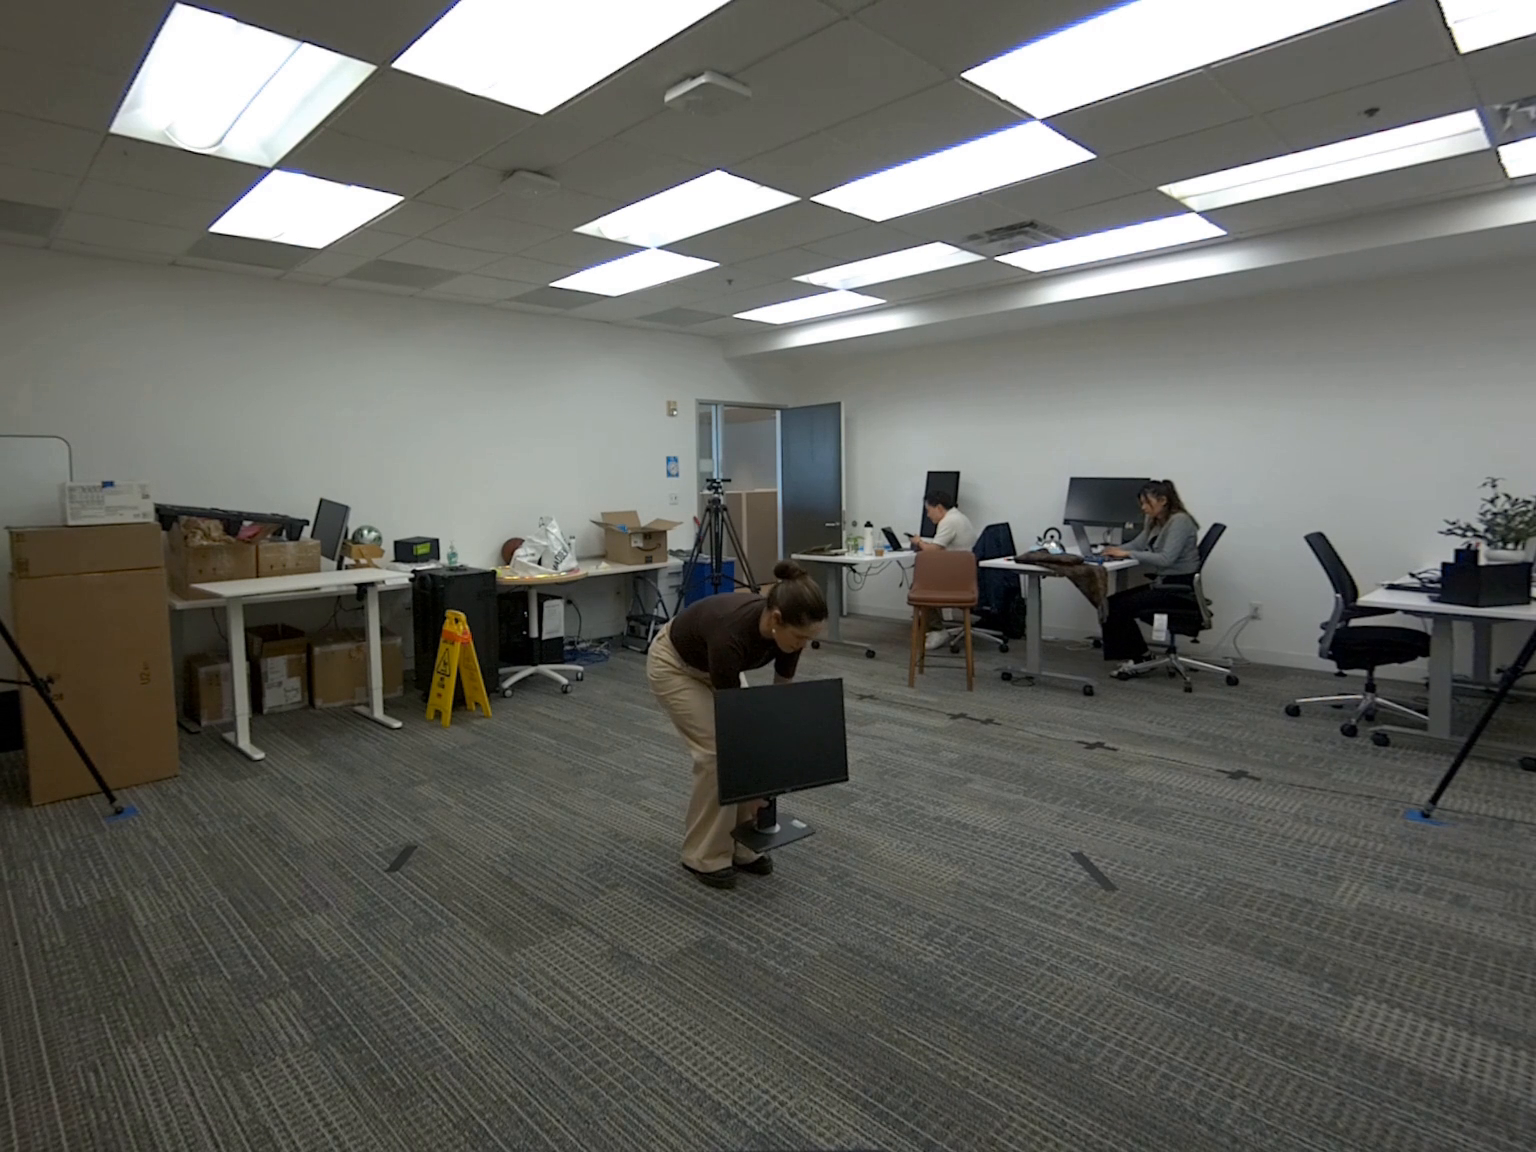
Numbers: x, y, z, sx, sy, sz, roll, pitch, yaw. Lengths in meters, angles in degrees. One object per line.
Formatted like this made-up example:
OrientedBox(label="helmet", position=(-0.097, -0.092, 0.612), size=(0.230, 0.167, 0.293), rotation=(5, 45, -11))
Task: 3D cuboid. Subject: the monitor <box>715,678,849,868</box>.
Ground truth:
OrientedBox(label="monitor", position=(0.026, 0.617, 2.830), size=(0.524, 0.520, 0.193), rotation=(-1, 8, -40))
